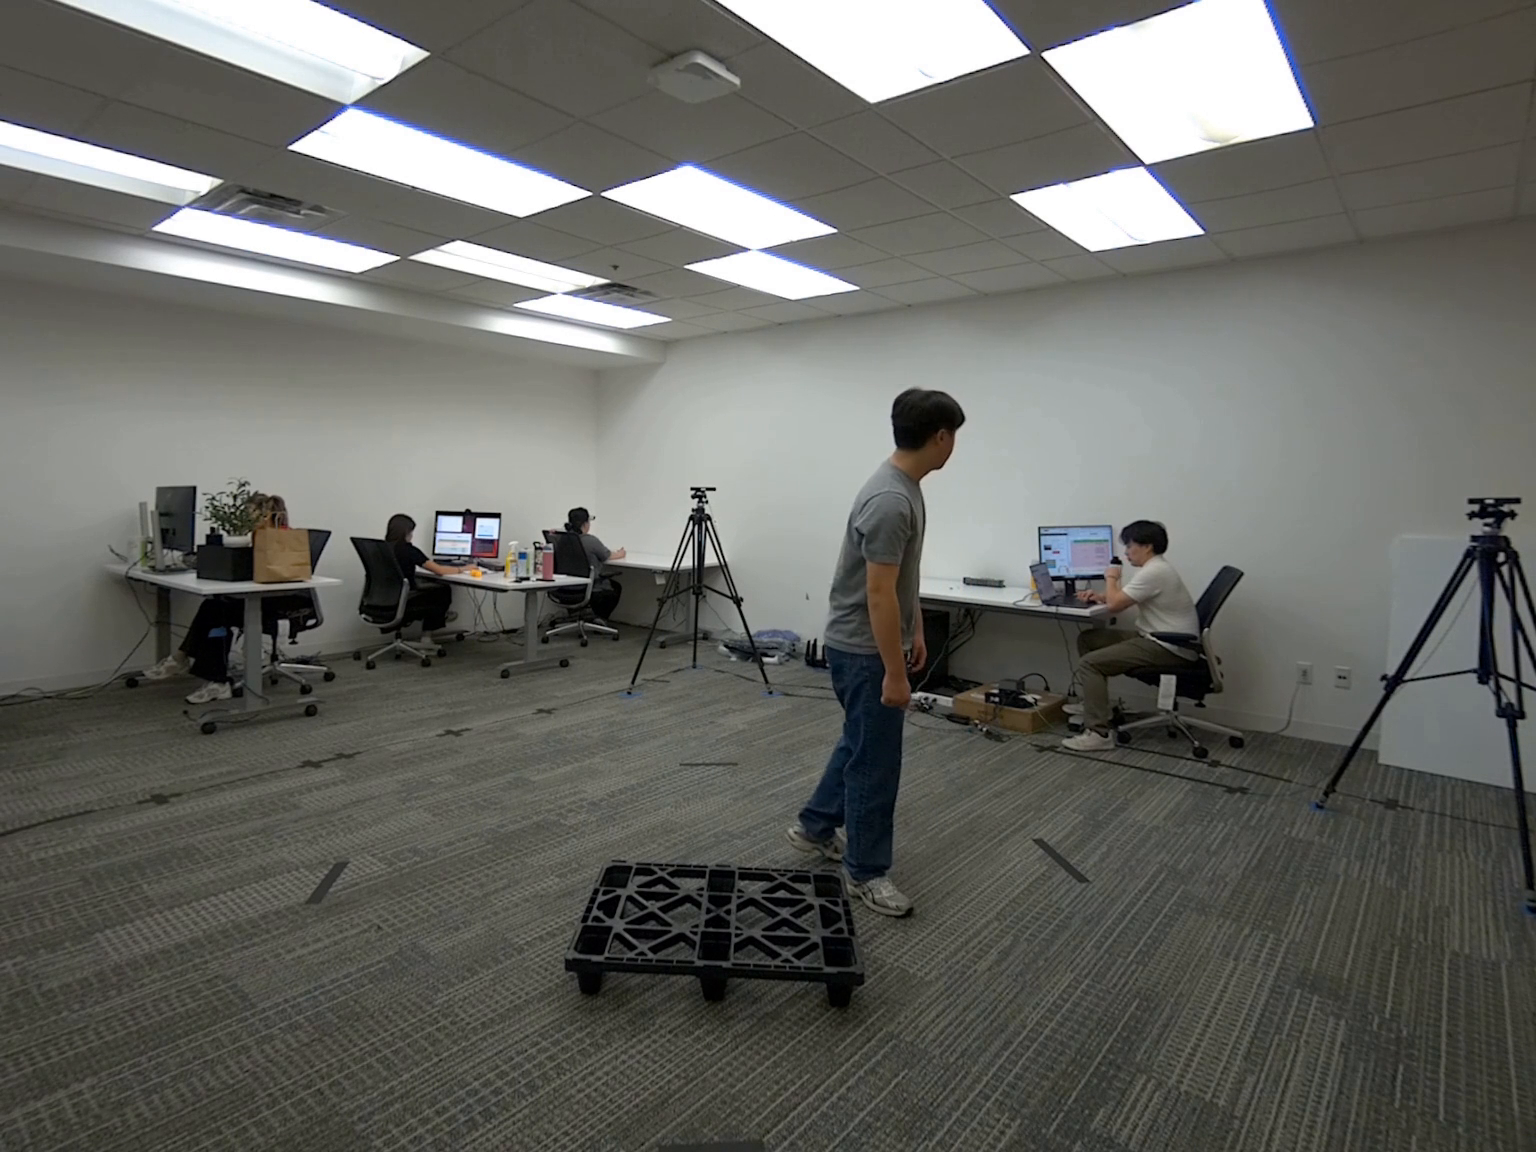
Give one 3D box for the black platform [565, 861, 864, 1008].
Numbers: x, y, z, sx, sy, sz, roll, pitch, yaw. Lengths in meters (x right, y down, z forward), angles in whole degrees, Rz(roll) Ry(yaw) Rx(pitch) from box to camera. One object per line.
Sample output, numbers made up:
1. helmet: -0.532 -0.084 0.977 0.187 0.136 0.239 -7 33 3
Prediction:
1. black platform: -0.159 1.052 2.539 0.808 0.143 0.606 2 6 2
